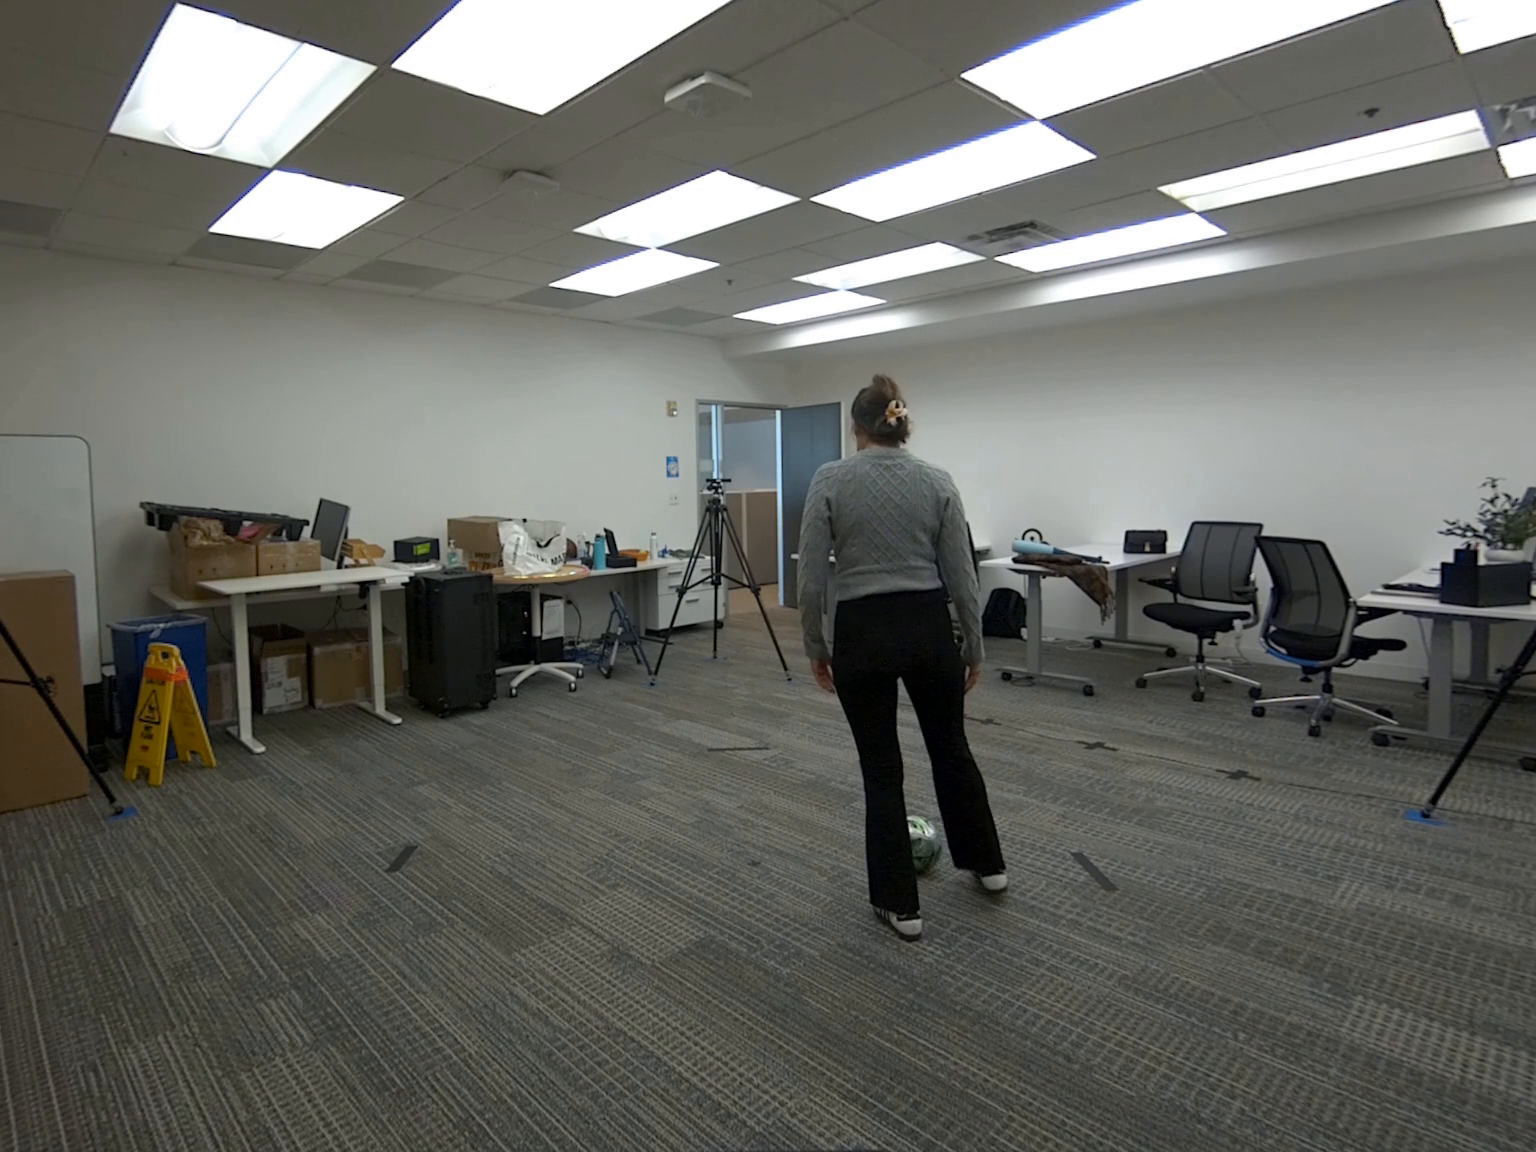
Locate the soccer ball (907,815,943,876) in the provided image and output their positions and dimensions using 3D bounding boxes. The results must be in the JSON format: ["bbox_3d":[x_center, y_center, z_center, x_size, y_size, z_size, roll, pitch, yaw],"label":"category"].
[{"bbox_3d":[0.522,0.950,3.035,0.187,0.187,0.188,-1,5,-2],"label":"soccer ball"}]
